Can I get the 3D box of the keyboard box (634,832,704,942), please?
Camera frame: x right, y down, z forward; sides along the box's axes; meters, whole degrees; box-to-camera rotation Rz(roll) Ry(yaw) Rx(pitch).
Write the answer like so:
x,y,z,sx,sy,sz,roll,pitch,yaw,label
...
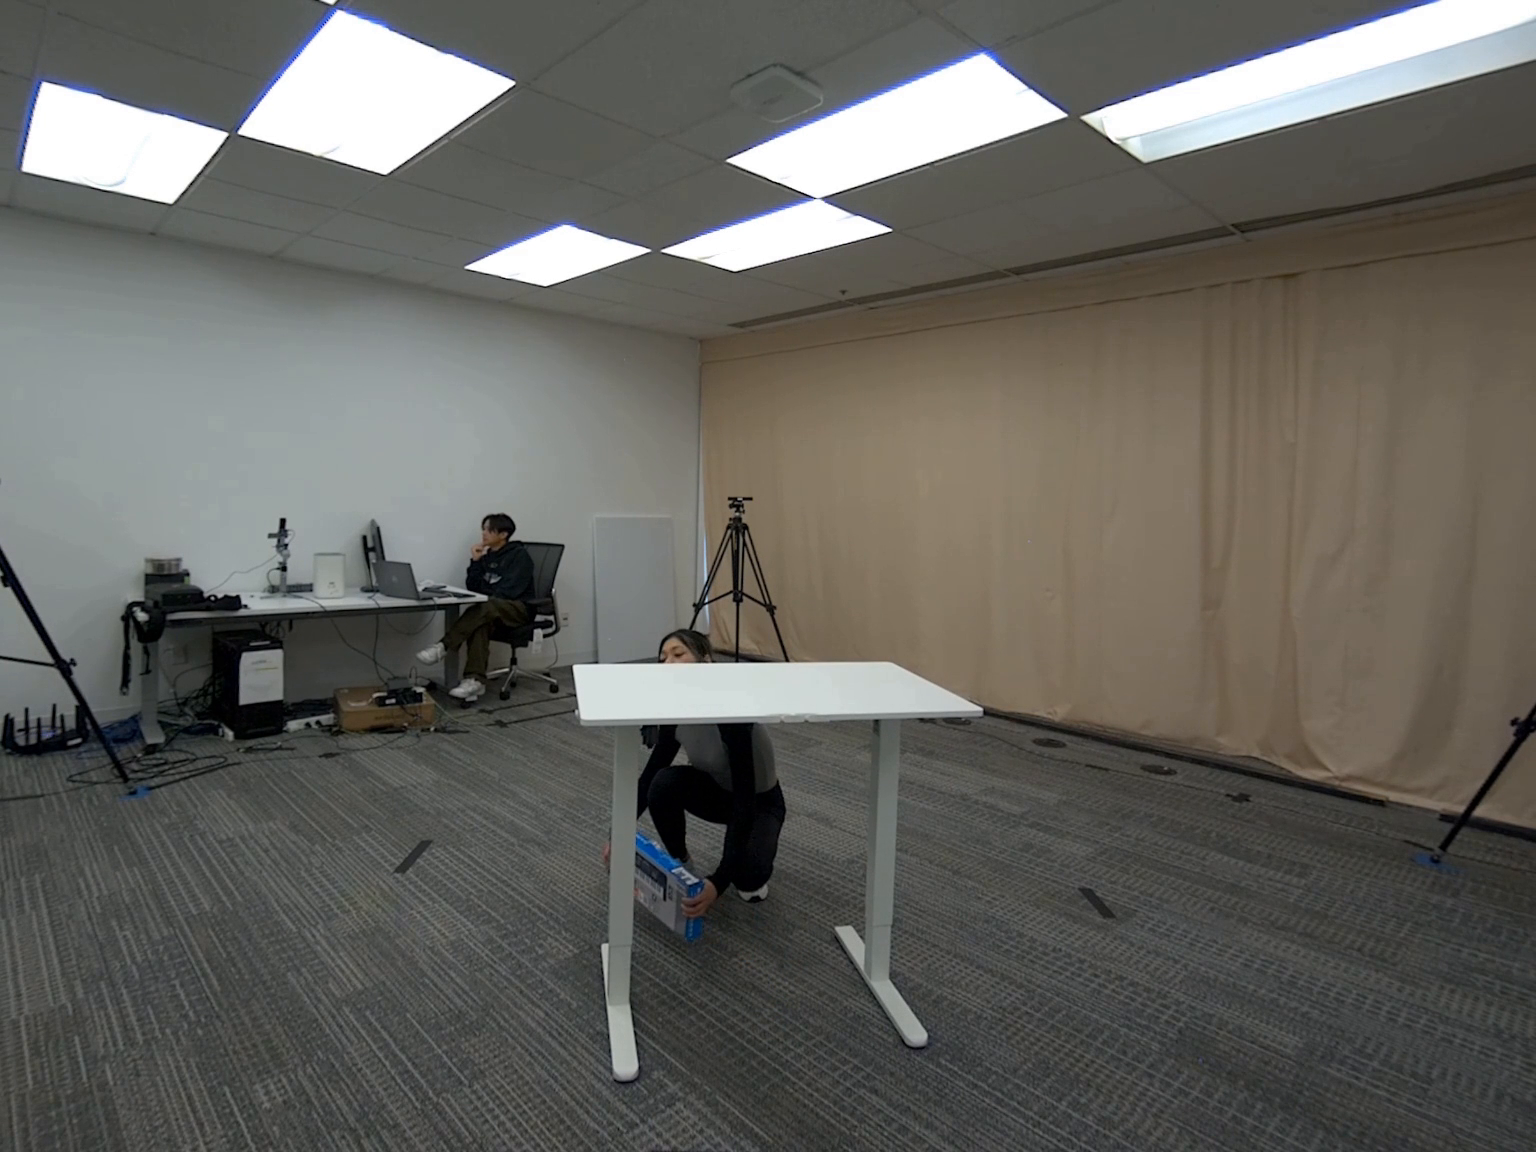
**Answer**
x,y,z,sx,sy,sz,roll,pitch,yaw,label
-0.365,0.943,2.607,0.058,0.175,0.449,-4,12,-39,keyboard box
